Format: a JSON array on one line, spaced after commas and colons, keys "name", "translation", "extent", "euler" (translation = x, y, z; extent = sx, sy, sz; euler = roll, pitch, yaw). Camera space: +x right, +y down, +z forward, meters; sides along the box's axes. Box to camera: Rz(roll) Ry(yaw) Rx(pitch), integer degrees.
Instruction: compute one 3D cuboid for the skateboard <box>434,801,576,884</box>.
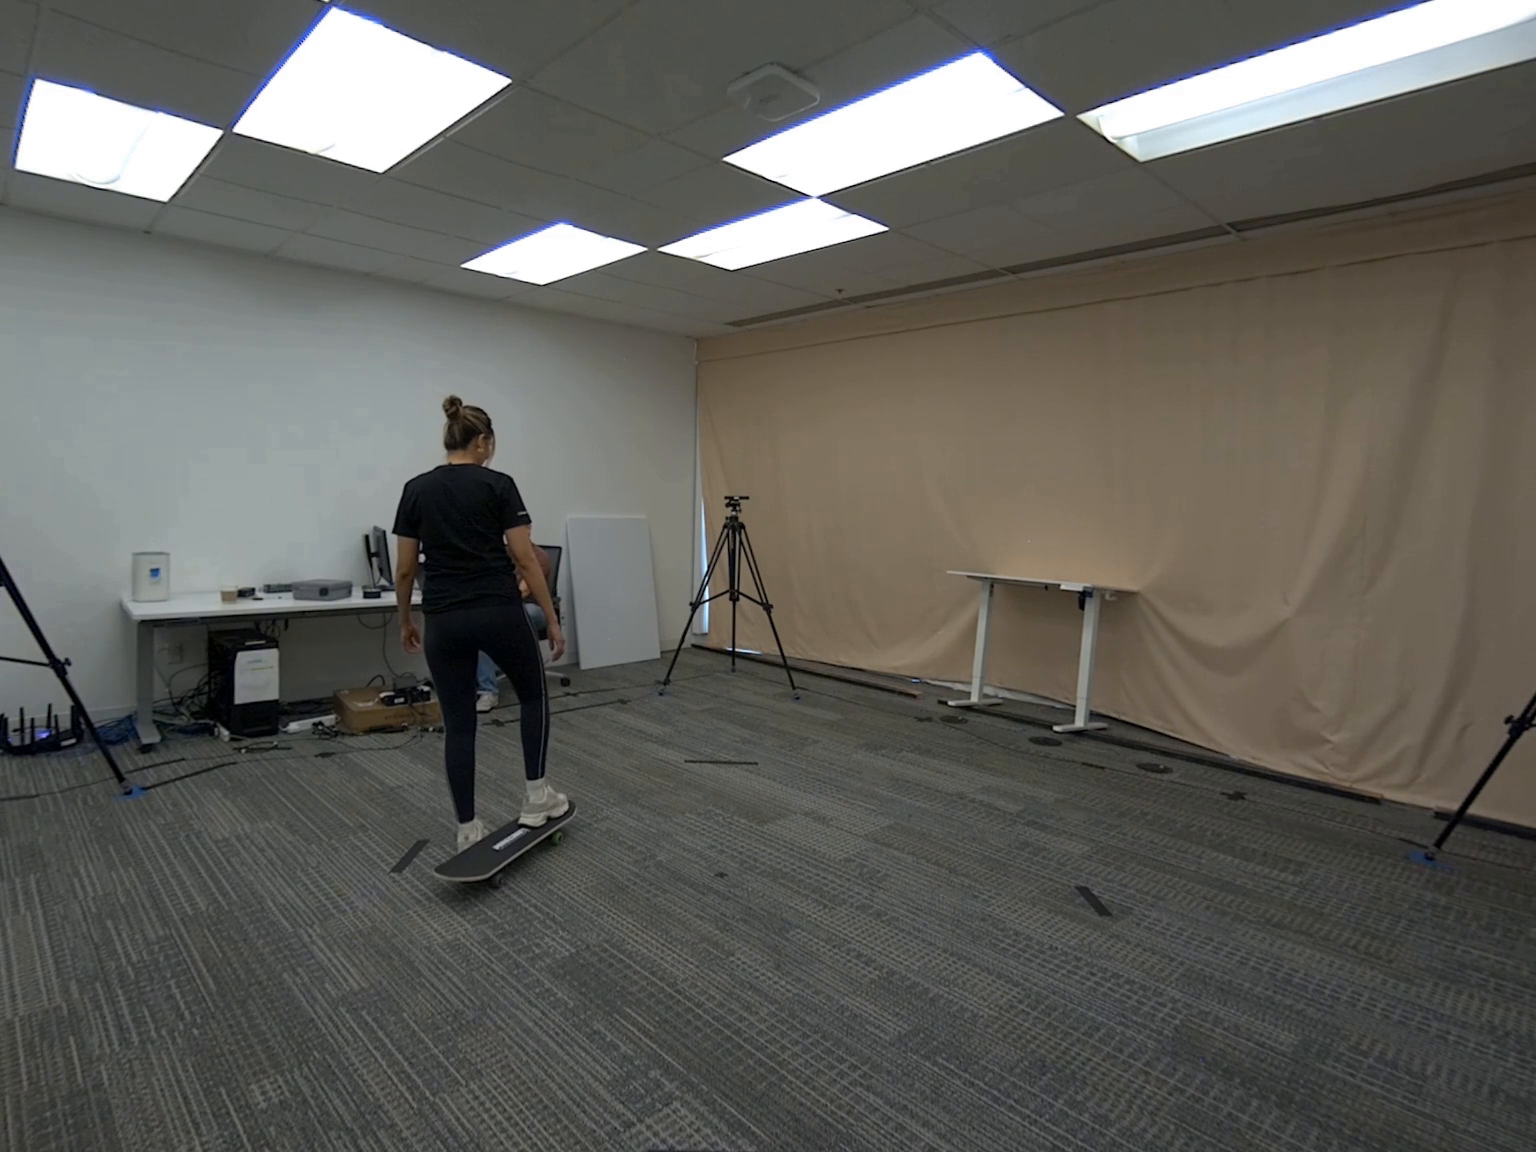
[{"name": "skateboard", "translation": [-0.968, 1.015, 3.176], "extent": [0.196, 0.110, 0.777], "euler": [3, 5, 15]}]
